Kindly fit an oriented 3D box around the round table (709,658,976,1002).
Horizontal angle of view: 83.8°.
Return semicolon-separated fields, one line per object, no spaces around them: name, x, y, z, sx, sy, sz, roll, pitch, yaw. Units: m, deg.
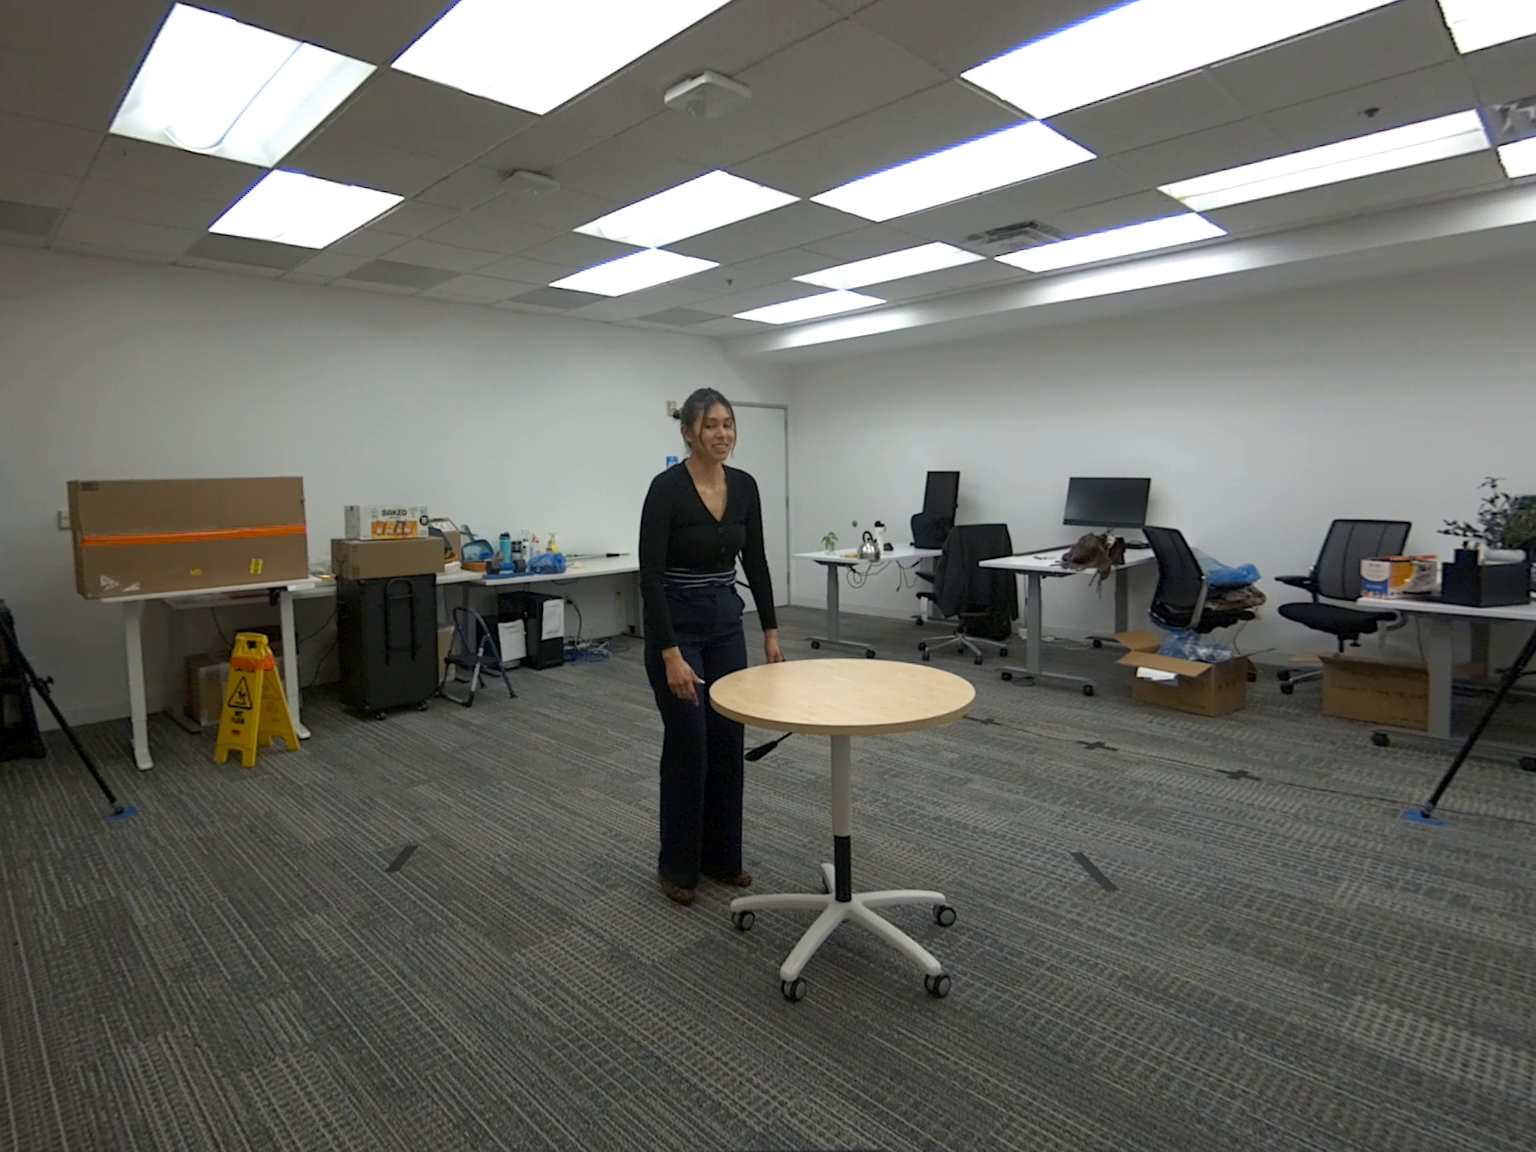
round table;0.229;0.717;2.537;0.763;0.790;0.768;-2;6;-2
